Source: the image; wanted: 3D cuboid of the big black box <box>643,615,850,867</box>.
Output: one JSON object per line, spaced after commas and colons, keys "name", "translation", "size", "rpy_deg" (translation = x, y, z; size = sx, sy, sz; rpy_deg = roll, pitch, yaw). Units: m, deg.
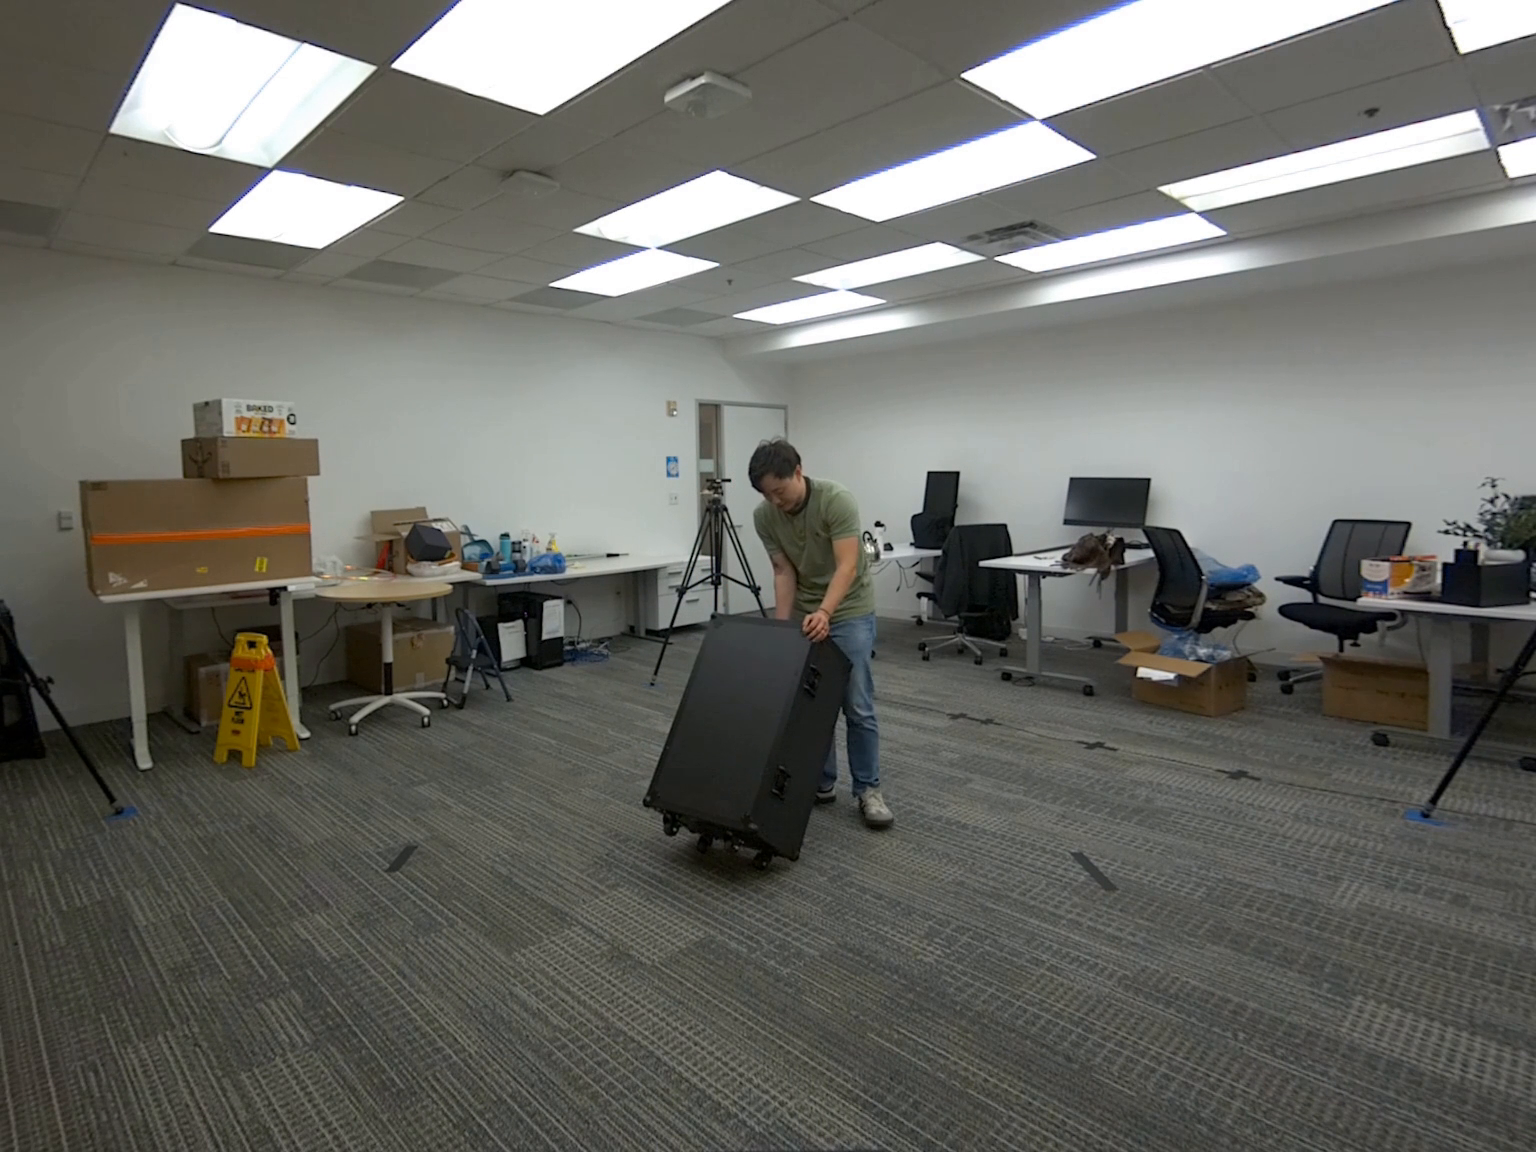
{"name": "big black box", "translation": [-0.071, 0.621, 3.232], "size": [0.536, 0.871, 0.381], "rpy_deg": [2, -31, 33]}
